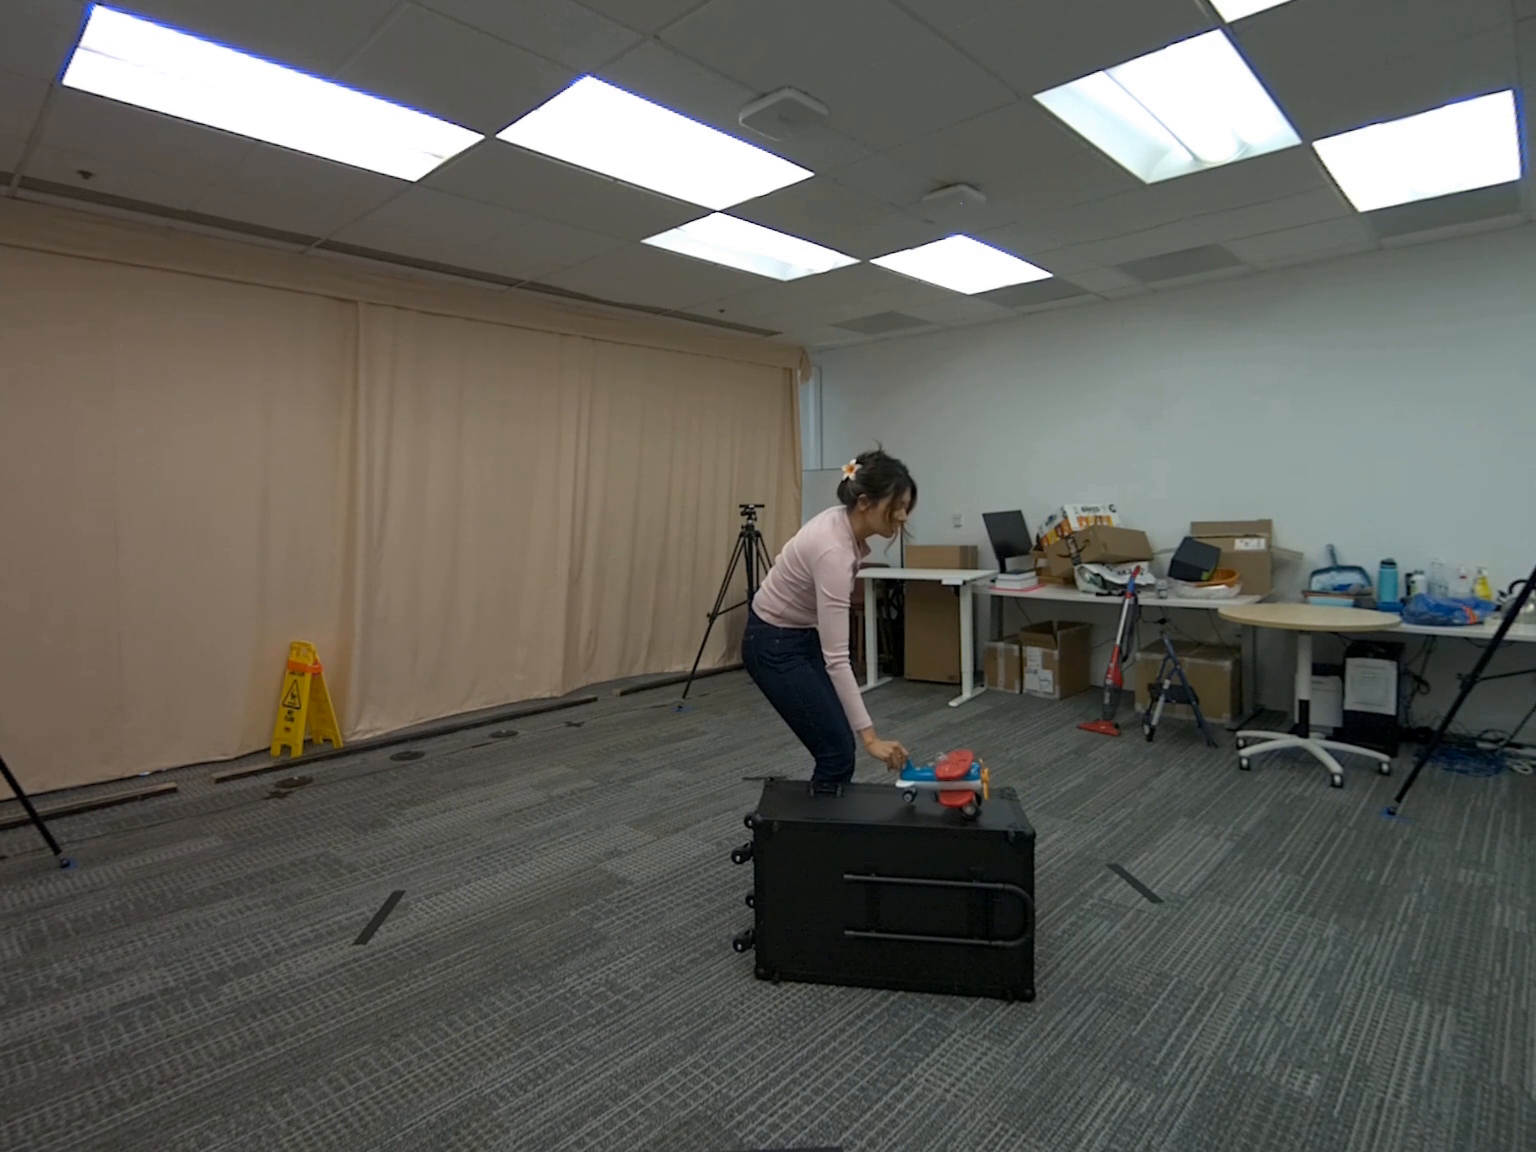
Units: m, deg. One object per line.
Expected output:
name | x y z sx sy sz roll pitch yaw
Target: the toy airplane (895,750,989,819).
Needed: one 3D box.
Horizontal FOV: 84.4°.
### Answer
toy airplane | 0.525 0.609 2.464 0.258 0.156 0.253 4 6 -6
